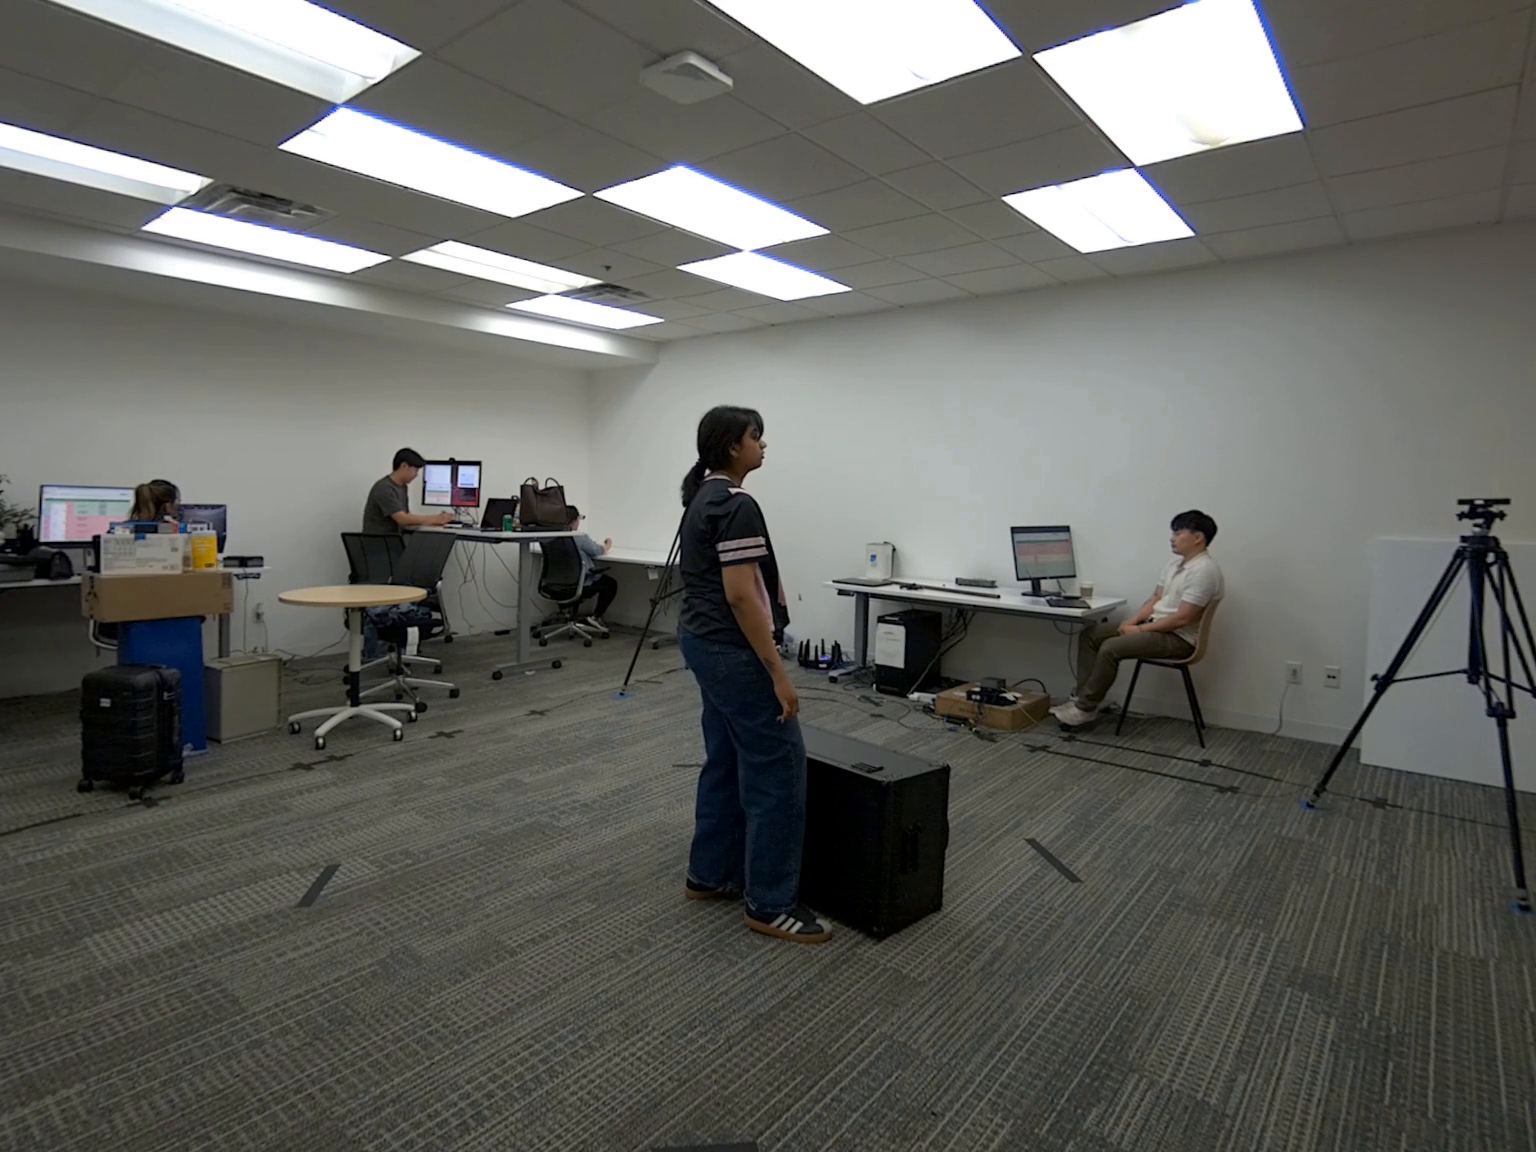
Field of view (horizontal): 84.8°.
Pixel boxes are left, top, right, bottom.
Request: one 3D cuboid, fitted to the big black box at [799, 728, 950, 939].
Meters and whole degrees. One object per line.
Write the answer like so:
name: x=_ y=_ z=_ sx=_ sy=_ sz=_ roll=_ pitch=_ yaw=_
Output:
big black box: x=0.168 y=0.827 z=3.047 sx=0.373 sy=0.522 sz=0.898 roll=-2 pitch=5 yaw=-44
